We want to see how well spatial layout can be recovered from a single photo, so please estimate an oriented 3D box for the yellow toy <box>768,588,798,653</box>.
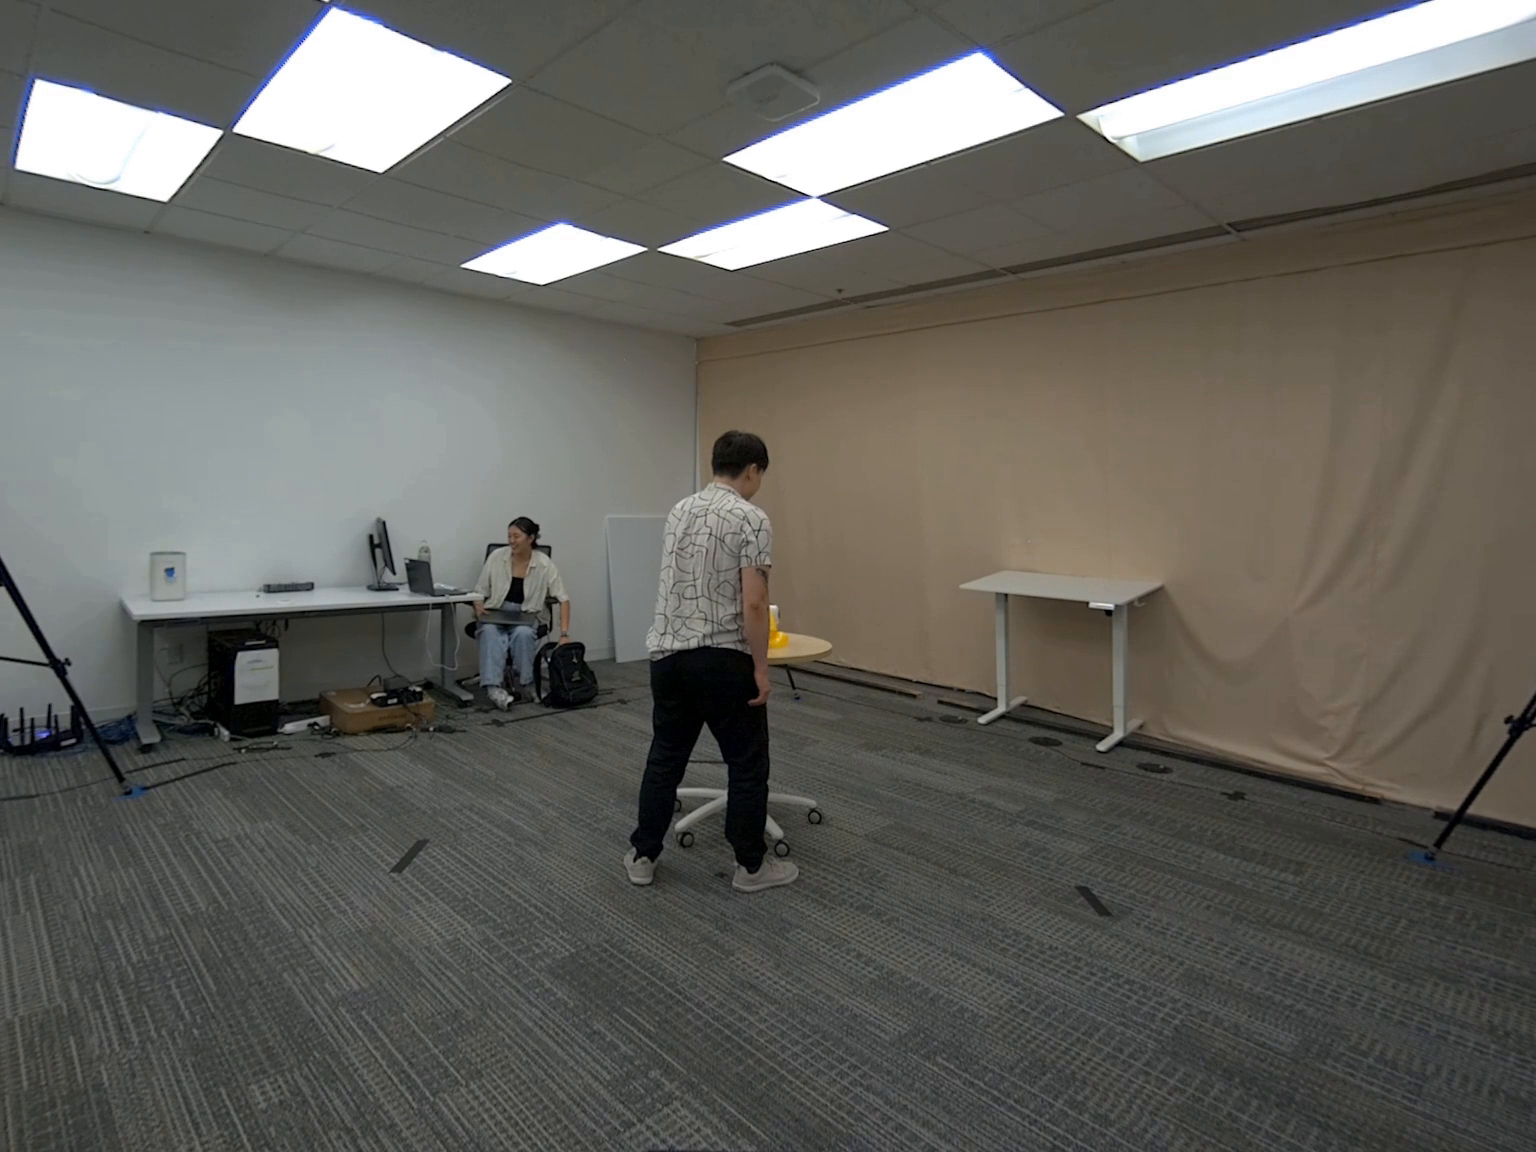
[{"bbox_3d":[-0.021,0.176,3.515,0.210,0.230,0.189,5,4,34],"label":"yellow toy"}]
